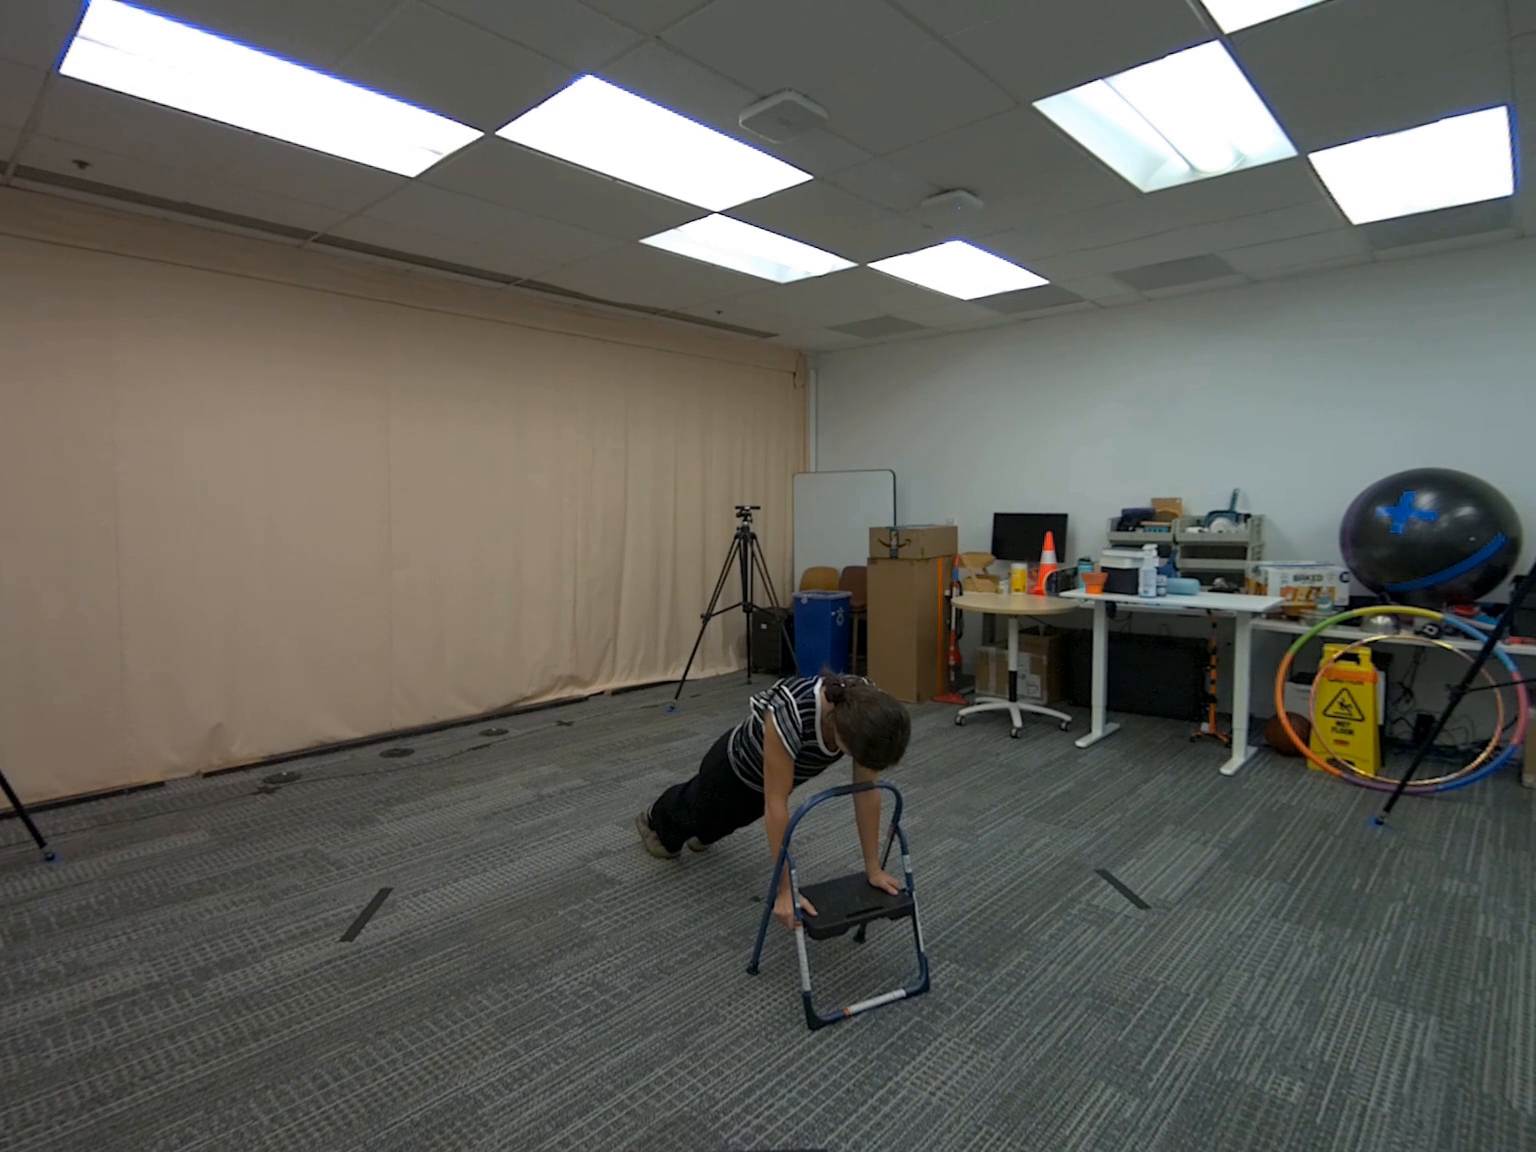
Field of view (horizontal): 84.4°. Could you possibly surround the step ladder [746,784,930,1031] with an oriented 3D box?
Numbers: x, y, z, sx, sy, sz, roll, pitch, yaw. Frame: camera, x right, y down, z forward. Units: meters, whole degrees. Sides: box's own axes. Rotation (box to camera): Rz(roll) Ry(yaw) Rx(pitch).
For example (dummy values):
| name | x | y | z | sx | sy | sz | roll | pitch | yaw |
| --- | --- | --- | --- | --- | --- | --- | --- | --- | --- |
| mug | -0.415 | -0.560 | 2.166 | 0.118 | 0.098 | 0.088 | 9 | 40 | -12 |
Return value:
| name | x | y | z | sx | sy | sz | roll | pitch | yaw |
| --- | --- | --- | --- | --- | --- | --- | --- | --- | --- |
| step ladder | 0.212 | 0.888 | 2.454 | 0.419 | 0.604 | 0.359 | -2 | 4 | -30 |
